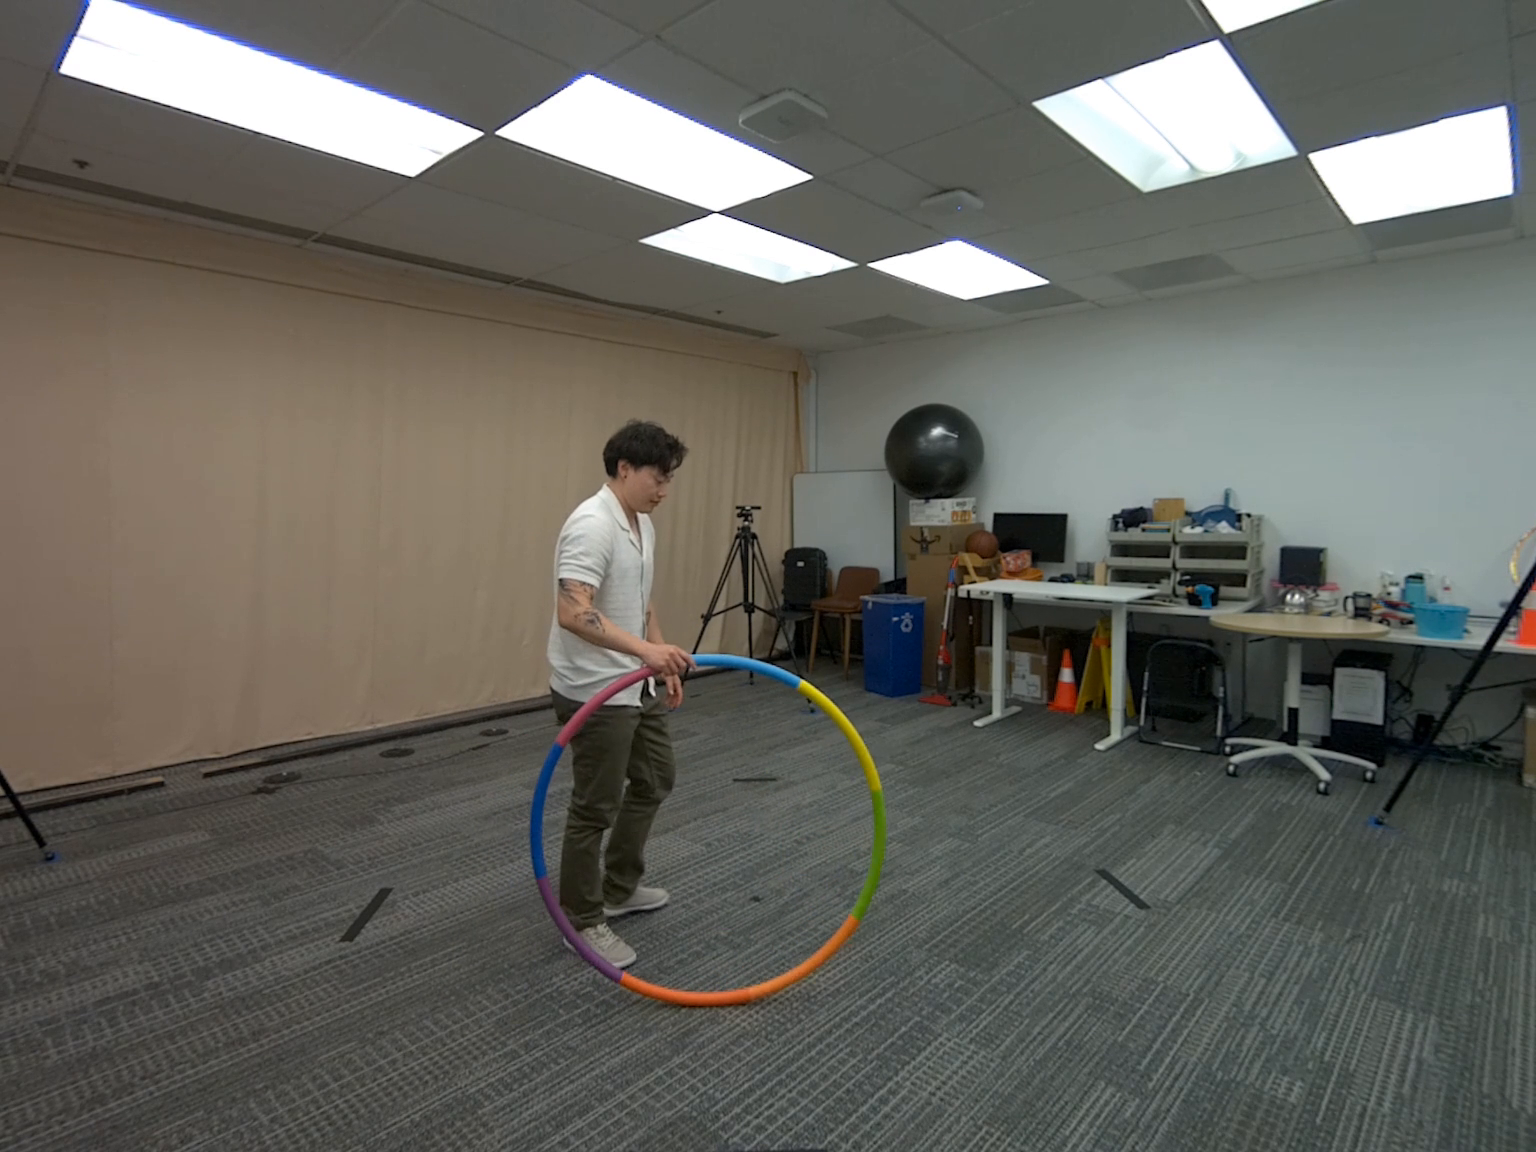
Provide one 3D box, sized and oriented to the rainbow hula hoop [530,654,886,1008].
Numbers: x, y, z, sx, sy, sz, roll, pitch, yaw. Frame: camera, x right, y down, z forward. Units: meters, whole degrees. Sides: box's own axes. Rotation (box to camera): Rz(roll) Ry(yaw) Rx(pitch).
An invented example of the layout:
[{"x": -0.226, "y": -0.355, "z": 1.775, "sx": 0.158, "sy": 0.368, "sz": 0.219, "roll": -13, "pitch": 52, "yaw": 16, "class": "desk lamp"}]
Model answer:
[{"x": -0.152, "y": 0.711, "z": 2.333, "sx": 0.975, "sy": 0.977, "sz": 0.036, "roll": 0, "pitch": 2, "yaw": -3, "class": "rainbow hula hoop"}]
